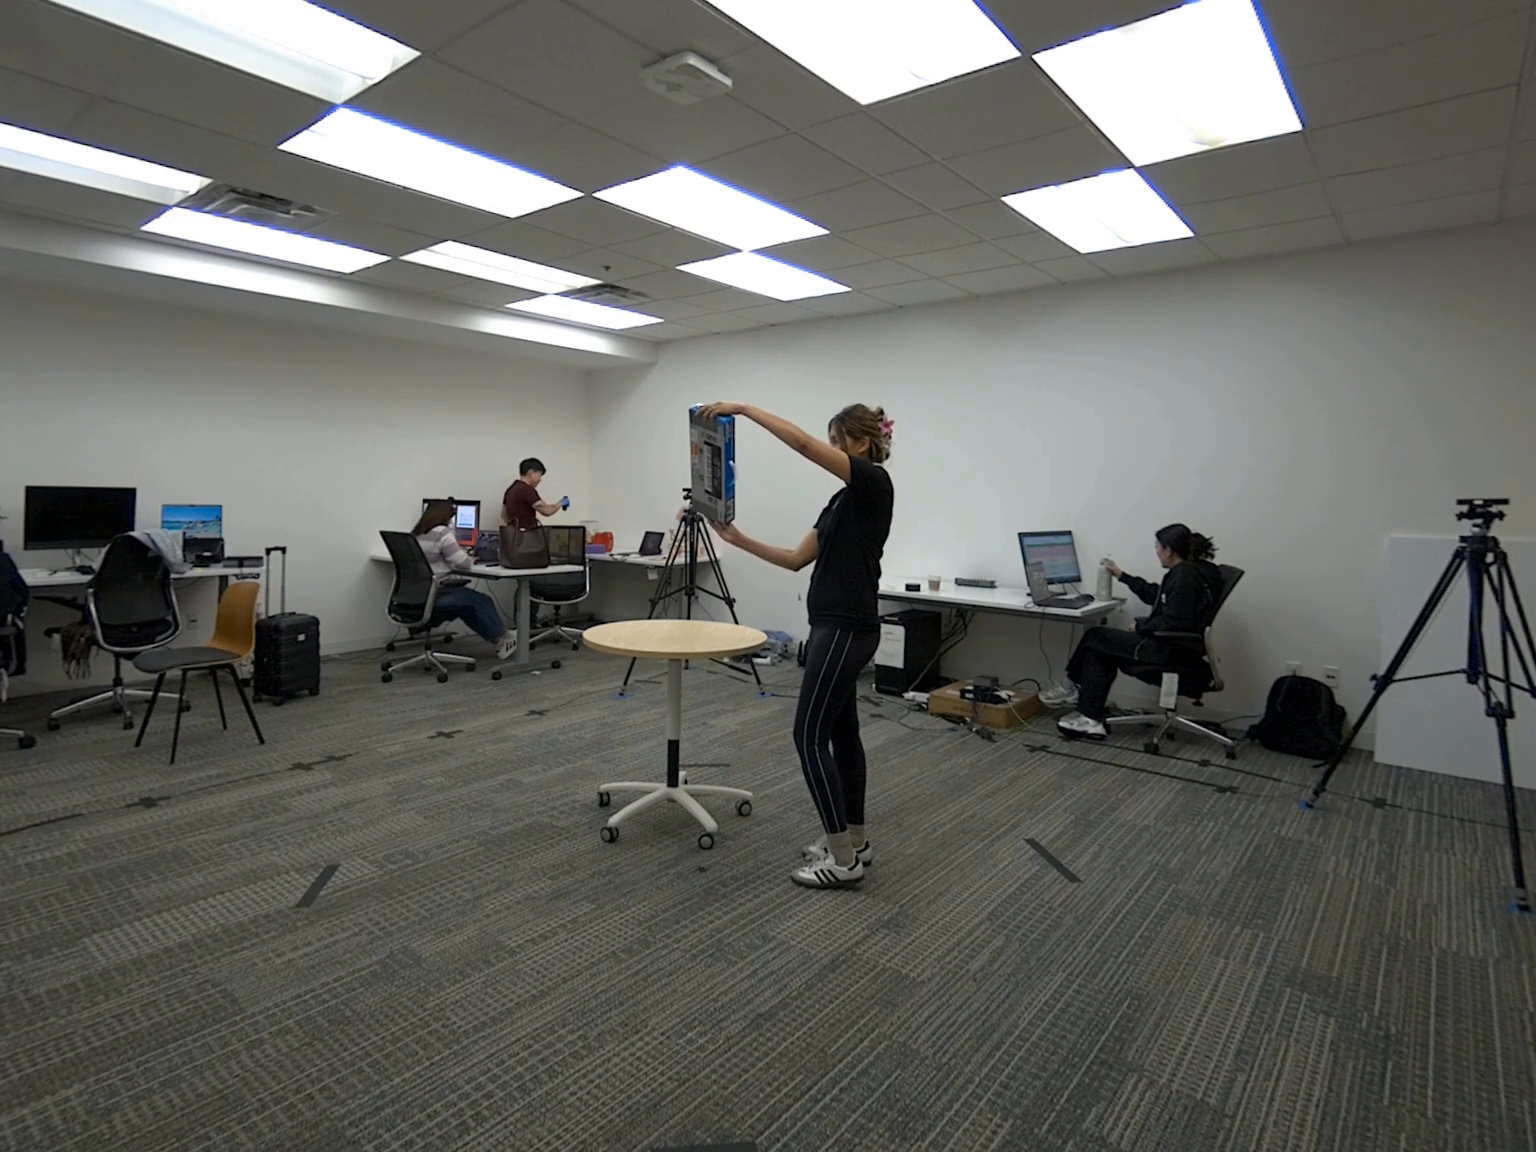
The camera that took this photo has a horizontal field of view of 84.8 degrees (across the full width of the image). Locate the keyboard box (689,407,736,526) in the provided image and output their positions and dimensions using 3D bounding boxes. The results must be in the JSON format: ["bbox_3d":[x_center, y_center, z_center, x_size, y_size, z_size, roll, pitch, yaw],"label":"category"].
[{"bbox_3d":[-0.221,-0.410,3.159,0.182,0.425,0.058,27,42,31],"label":"keyboard box"}]
